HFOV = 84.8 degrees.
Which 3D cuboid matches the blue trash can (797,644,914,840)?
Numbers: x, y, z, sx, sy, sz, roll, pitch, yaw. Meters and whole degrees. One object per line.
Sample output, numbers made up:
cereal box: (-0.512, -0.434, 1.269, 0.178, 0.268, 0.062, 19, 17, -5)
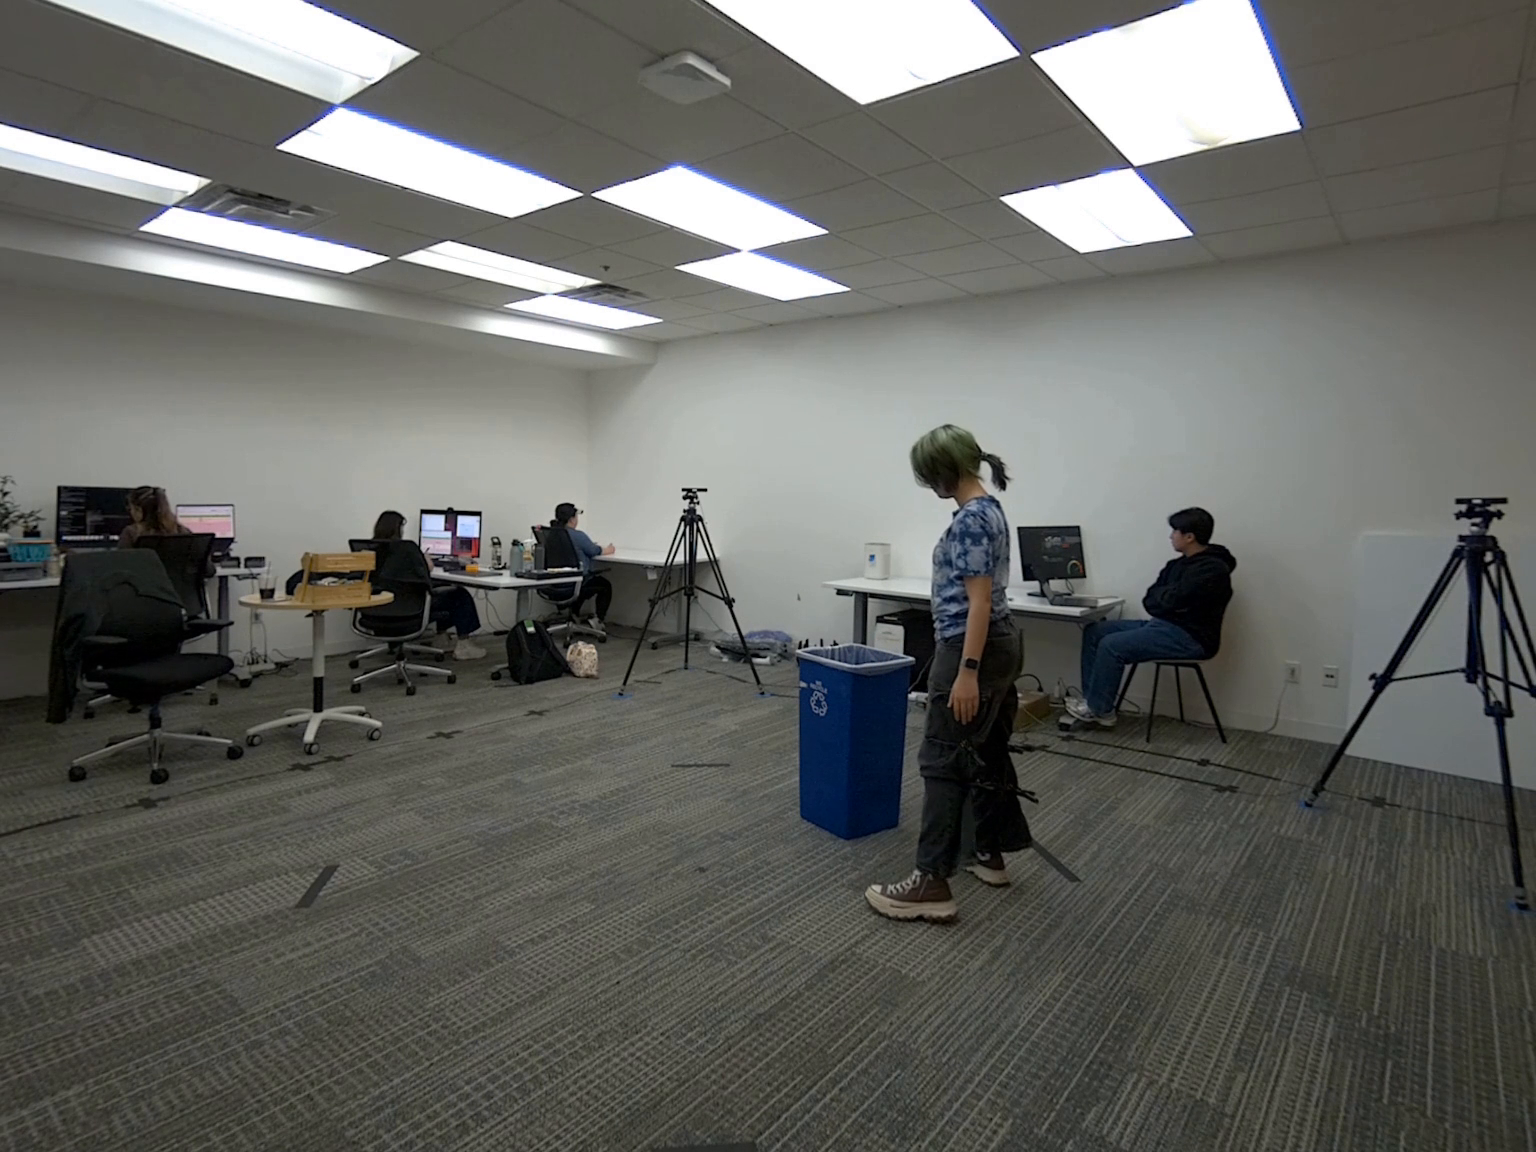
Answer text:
blue trash can: (0.351, 0.680, 3.575, 0.367, 0.711, 0.386, -1, 4, -37)
